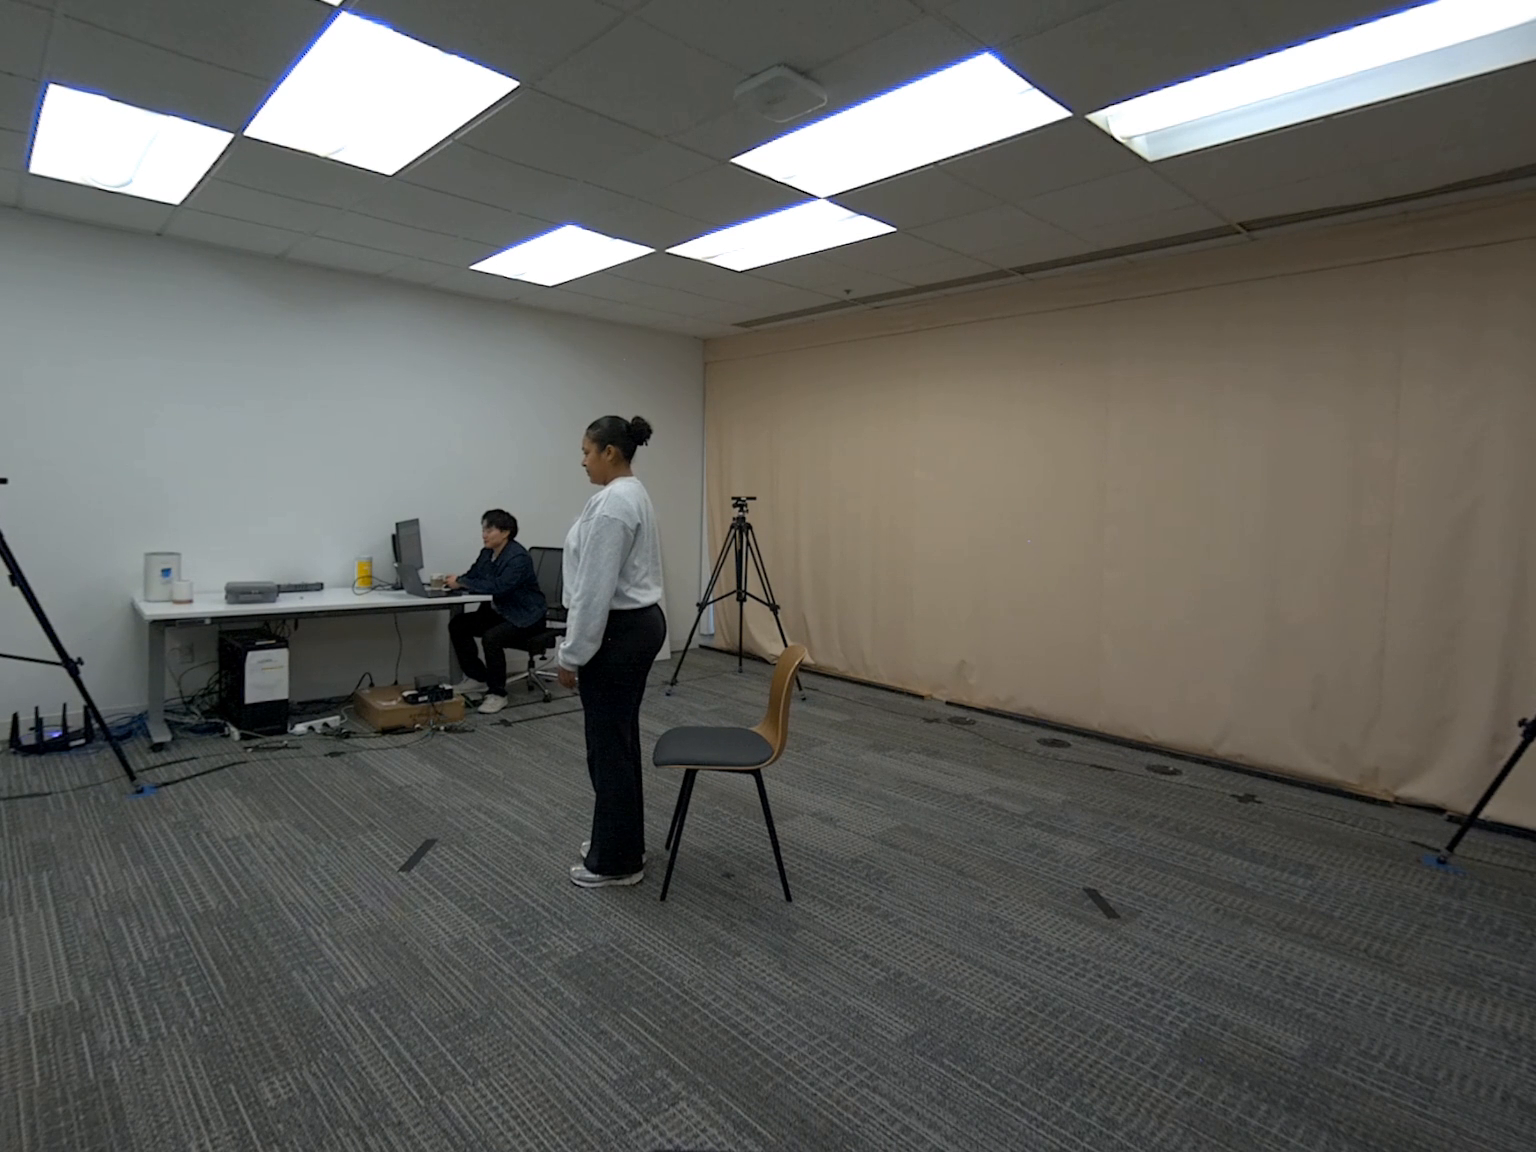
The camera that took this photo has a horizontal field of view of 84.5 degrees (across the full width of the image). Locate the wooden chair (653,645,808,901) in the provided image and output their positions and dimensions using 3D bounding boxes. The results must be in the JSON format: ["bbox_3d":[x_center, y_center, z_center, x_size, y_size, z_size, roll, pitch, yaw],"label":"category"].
[{"bbox_3d":[-0.162,0.676,3.088,0.521,0.875,0.481,5,4,-4],"label":"wooden chair"}]
